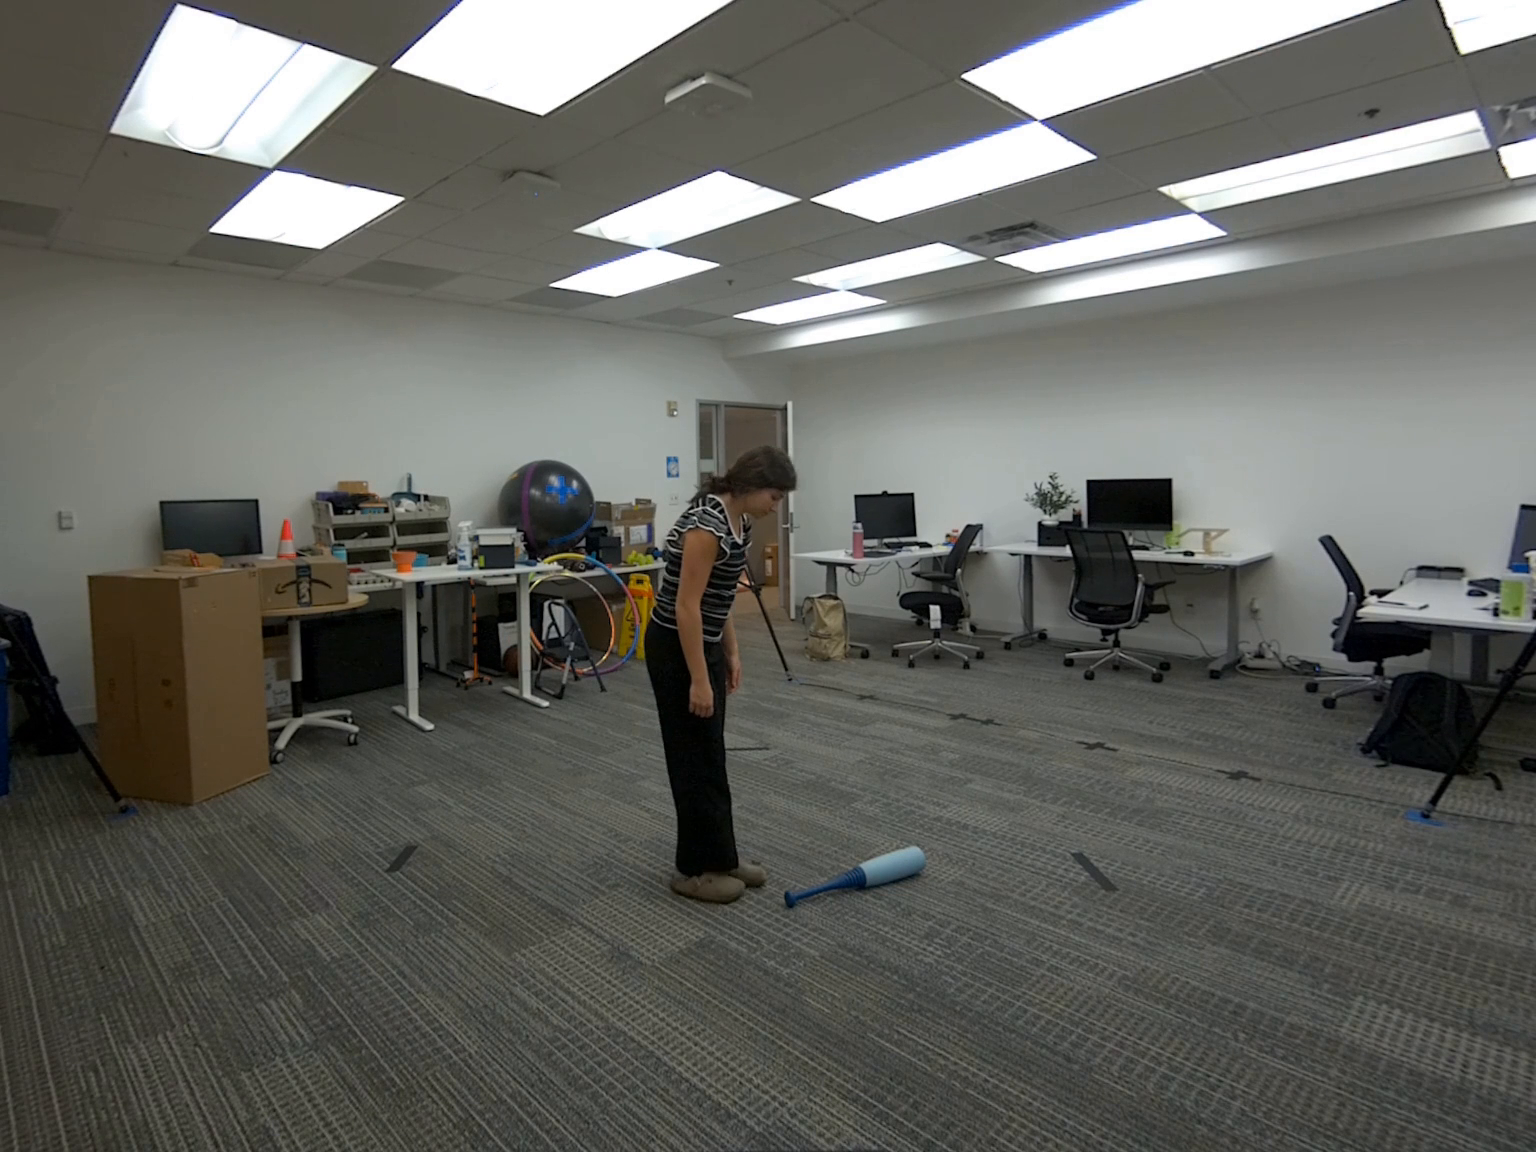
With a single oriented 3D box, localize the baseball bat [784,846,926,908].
[{"bbox_3d":[0.299,1.024,2.895,0.533,0.088,0.091,-8,7,-24],"label":"baseball bat"}]
